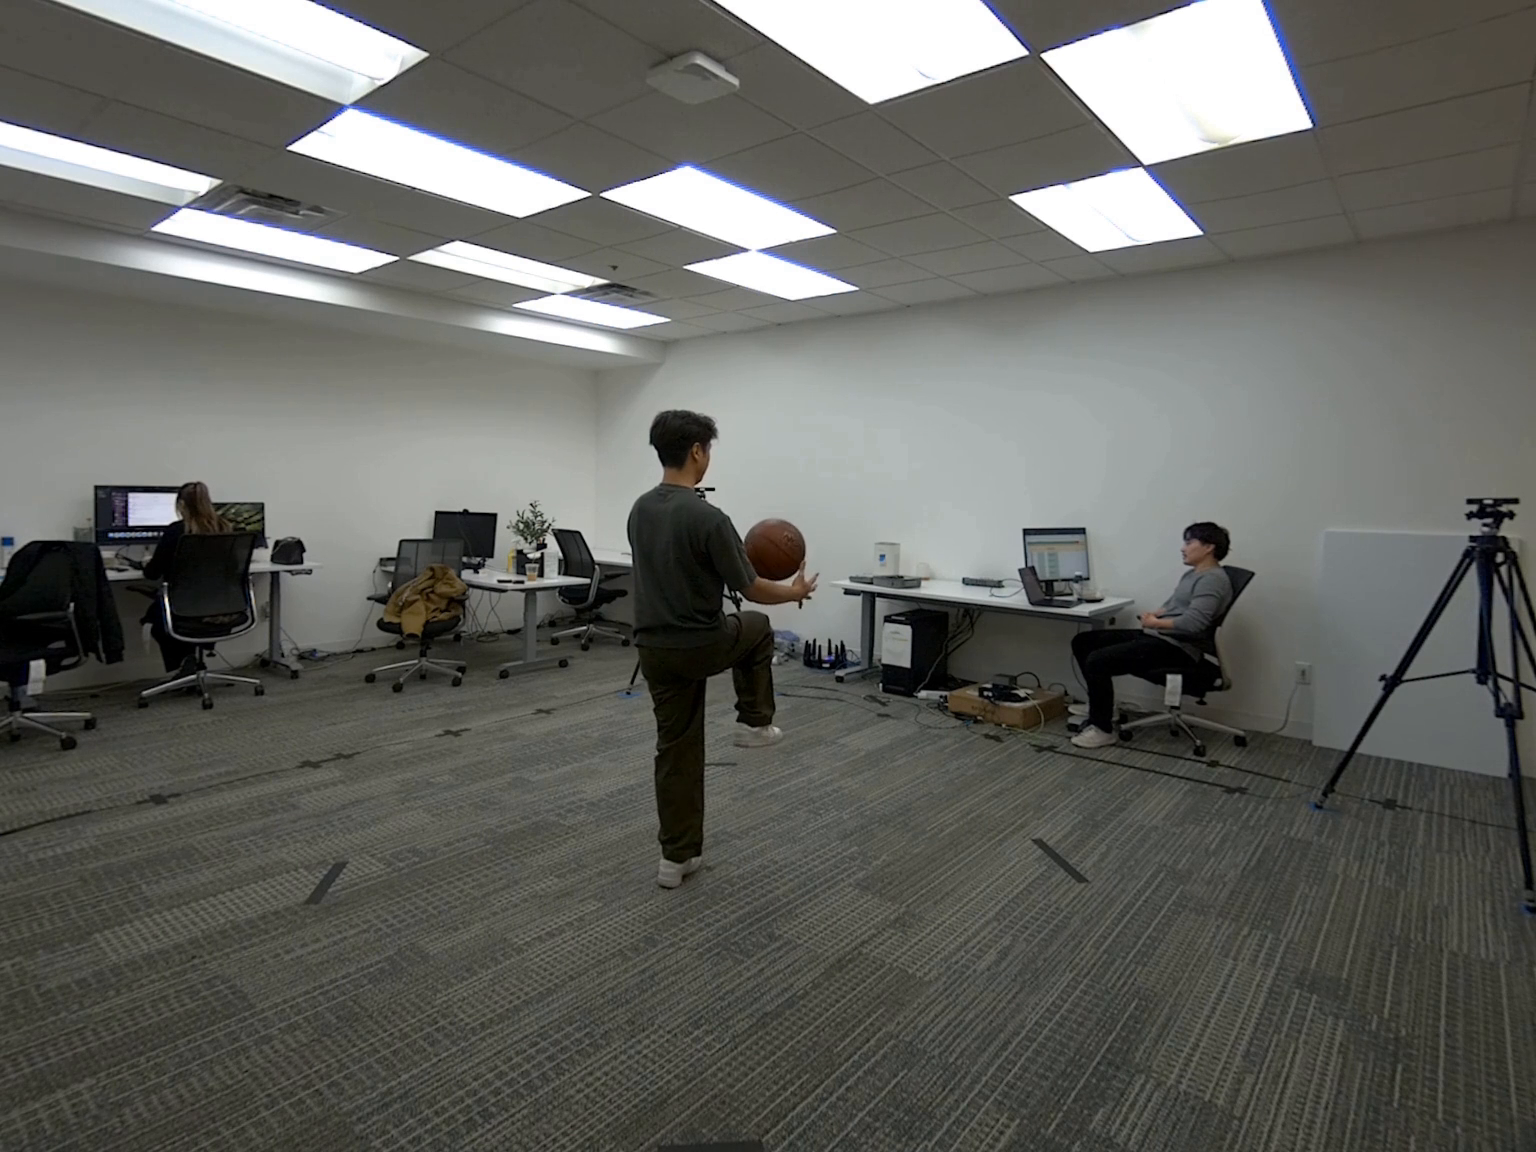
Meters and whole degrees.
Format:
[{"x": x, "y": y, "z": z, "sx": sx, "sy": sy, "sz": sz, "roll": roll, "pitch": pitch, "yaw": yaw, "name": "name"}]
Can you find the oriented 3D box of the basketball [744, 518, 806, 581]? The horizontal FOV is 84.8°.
[{"x": 0.019, "y": -0.089, "z": 3.225, "sx": 0.235, "sy": 0.235, "sz": 0.237, "roll": 1, "pitch": 4, "yaw": -2, "name": "basketball"}]
